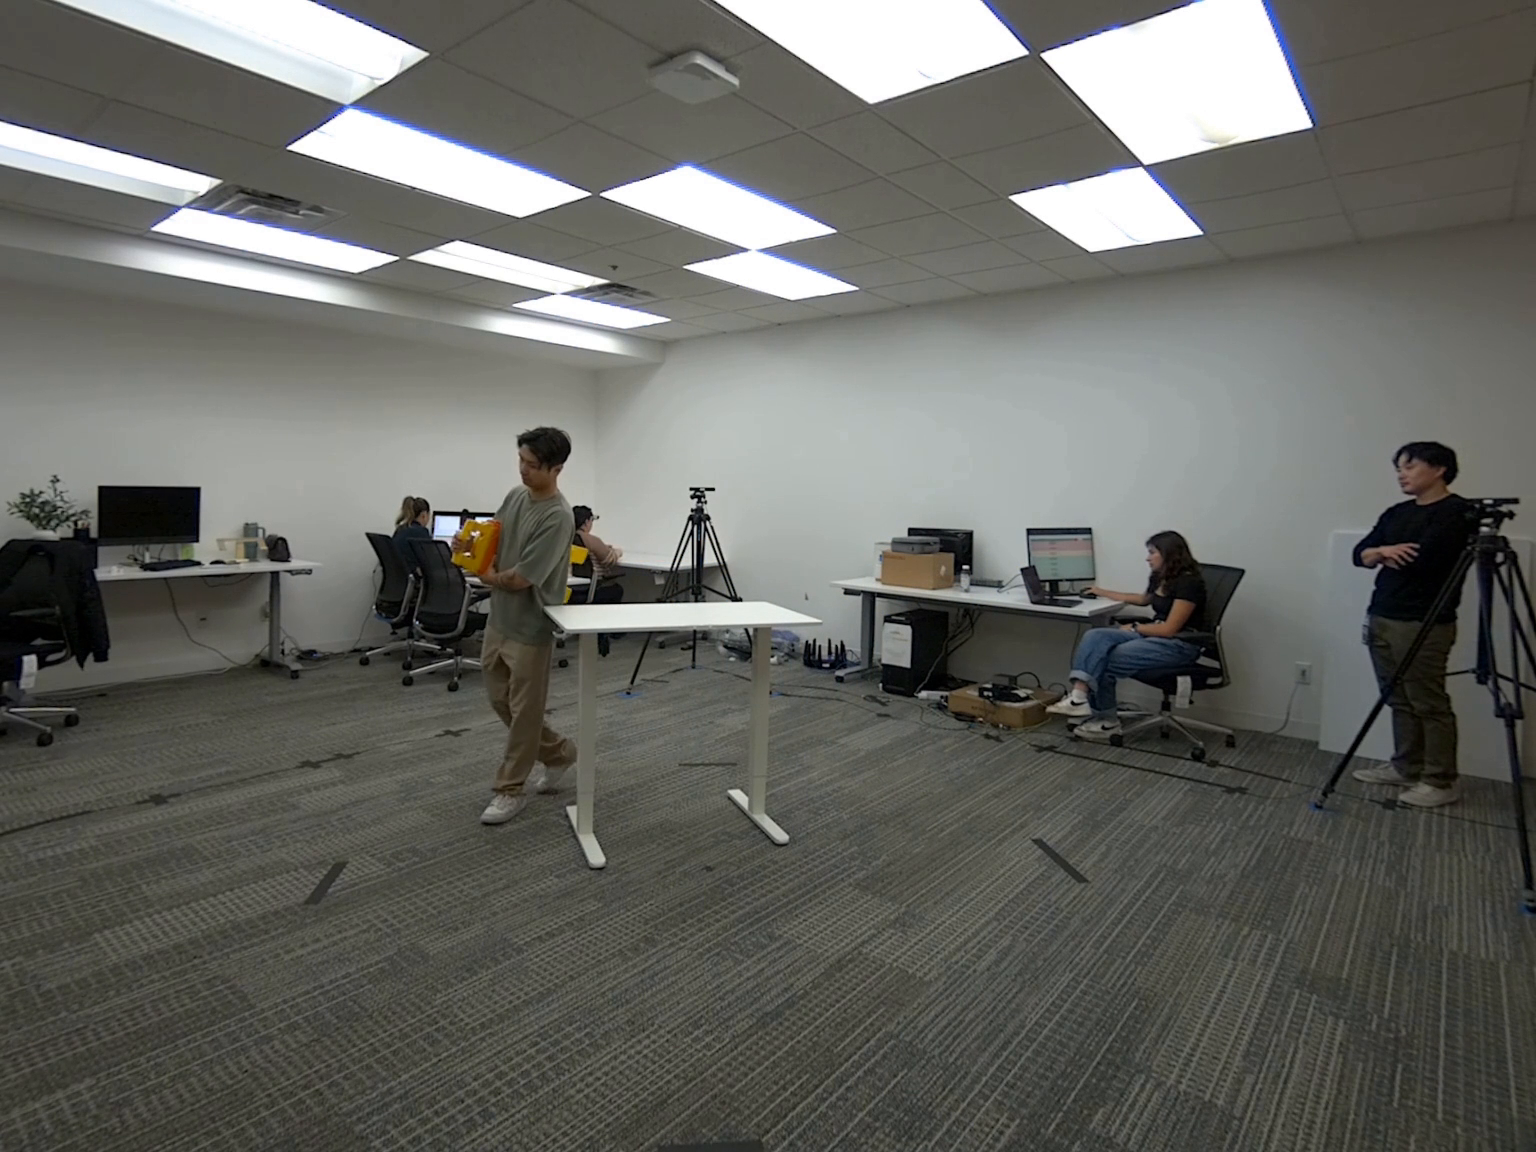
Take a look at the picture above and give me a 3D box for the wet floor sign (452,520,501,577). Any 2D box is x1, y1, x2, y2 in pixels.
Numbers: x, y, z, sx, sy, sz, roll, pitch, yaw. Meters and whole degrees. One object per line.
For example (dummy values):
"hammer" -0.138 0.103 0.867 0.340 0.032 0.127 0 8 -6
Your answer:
"wet floor sign" -1.148 -0.070 3.827 0.301 0.282 0.621 18 -2 35
